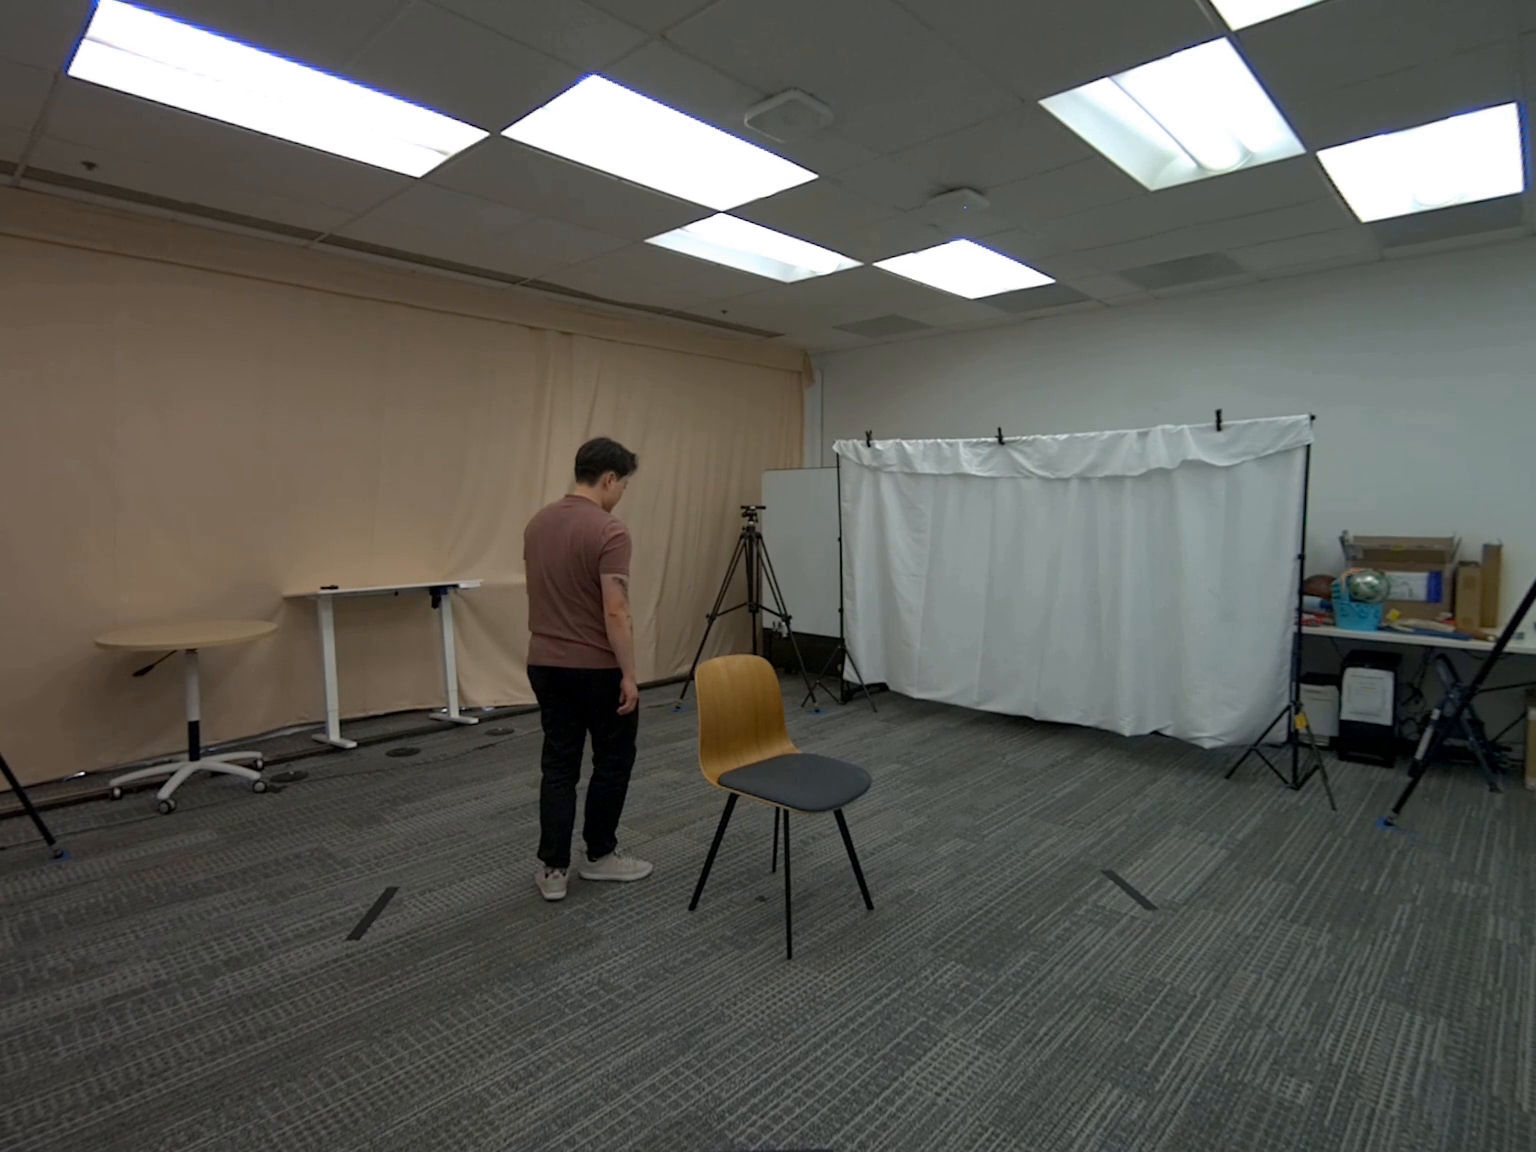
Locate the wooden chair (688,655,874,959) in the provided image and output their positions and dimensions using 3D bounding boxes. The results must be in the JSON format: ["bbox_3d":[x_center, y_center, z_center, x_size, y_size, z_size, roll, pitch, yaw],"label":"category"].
[{"bbox_3d":[0.054,0.727,2.859,0.539,0.877,0.463,-3,0,43],"label":"wooden chair"}]
